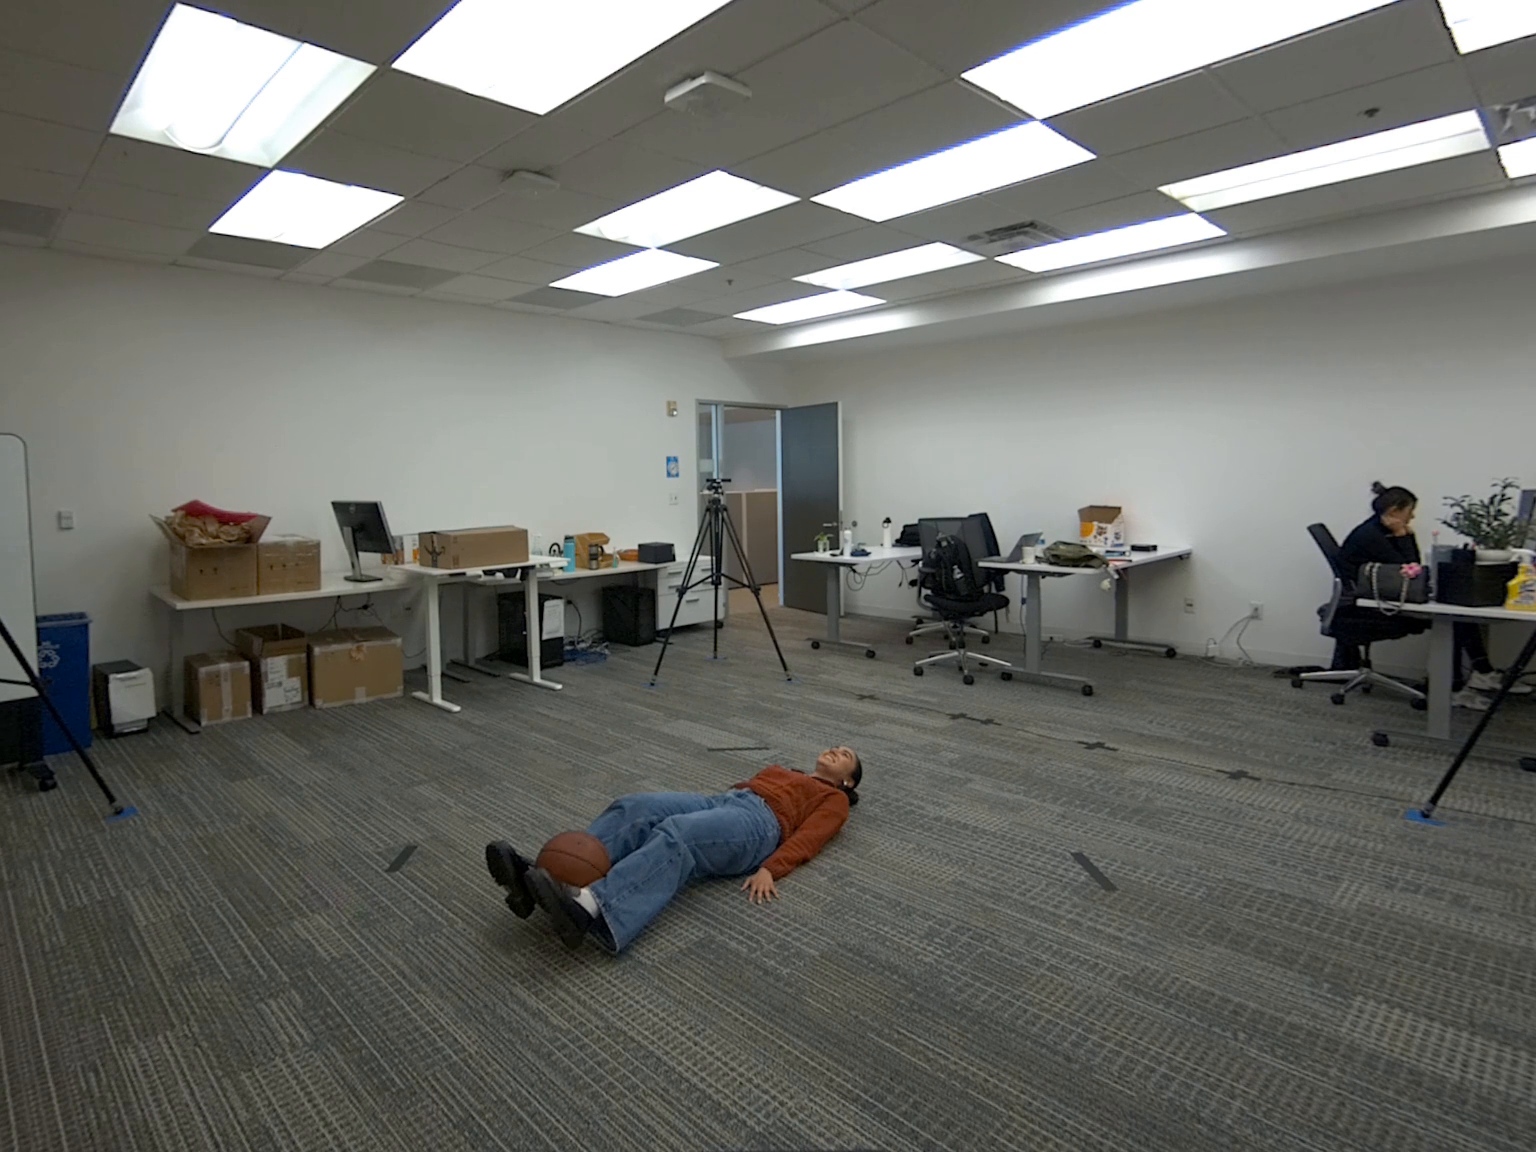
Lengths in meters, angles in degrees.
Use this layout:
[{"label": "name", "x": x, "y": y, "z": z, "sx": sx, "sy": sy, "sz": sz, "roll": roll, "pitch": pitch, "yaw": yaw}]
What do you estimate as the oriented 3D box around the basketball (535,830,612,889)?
[{"label": "basketball", "x": -0.604, "y": 0.906, "z": 2.643, "sx": 0.236, "sy": 0.235, "sz": 0.237, "roll": -1, "pitch": 5, "yaw": -2}]
